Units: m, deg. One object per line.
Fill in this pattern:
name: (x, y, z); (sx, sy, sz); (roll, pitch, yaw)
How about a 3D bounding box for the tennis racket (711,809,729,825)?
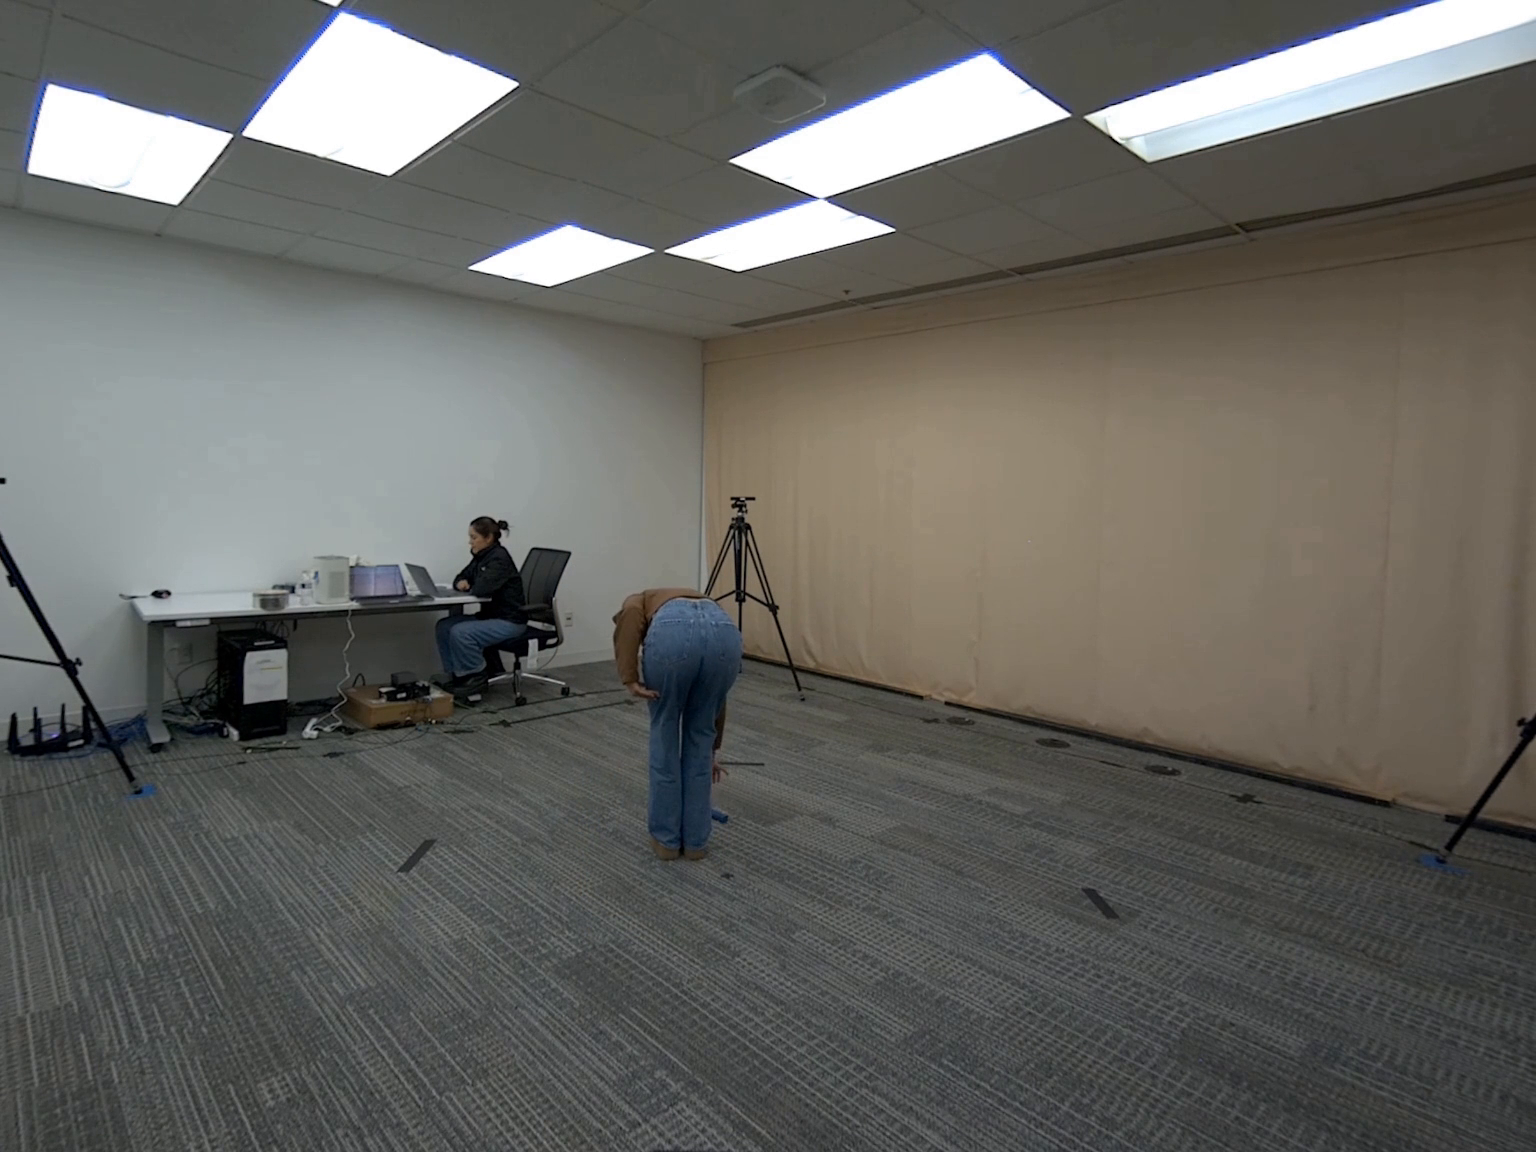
tennis racket: (-0.340, 1.031, 3.778); (0.209, 0.032, 0.444); (-2, 5, -41)
